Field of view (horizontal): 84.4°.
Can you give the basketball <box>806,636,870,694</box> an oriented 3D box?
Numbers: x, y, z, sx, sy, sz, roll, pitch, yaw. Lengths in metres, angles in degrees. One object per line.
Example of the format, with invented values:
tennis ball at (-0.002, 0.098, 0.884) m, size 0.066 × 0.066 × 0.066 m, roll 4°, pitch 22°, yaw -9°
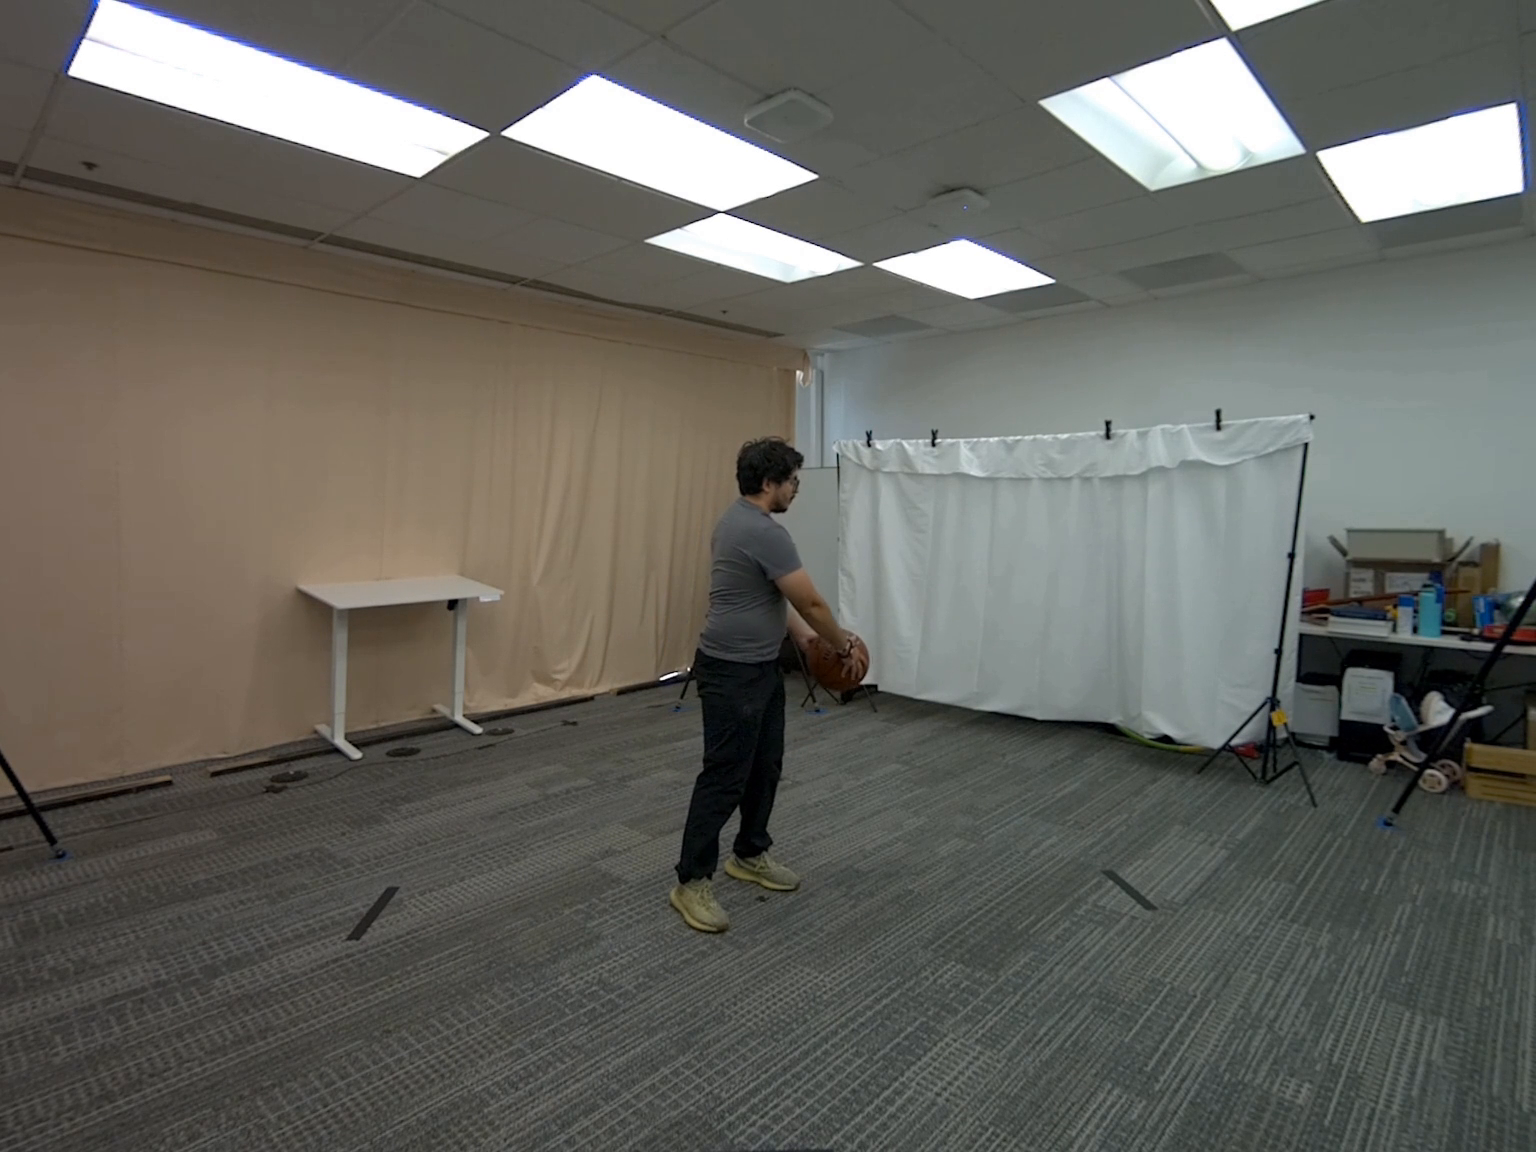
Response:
basketball at (0.277, 0.324, 3.249) m, size 0.236 × 0.235 × 0.237 m, roll 0°, pitch 4°, yaw -2°
